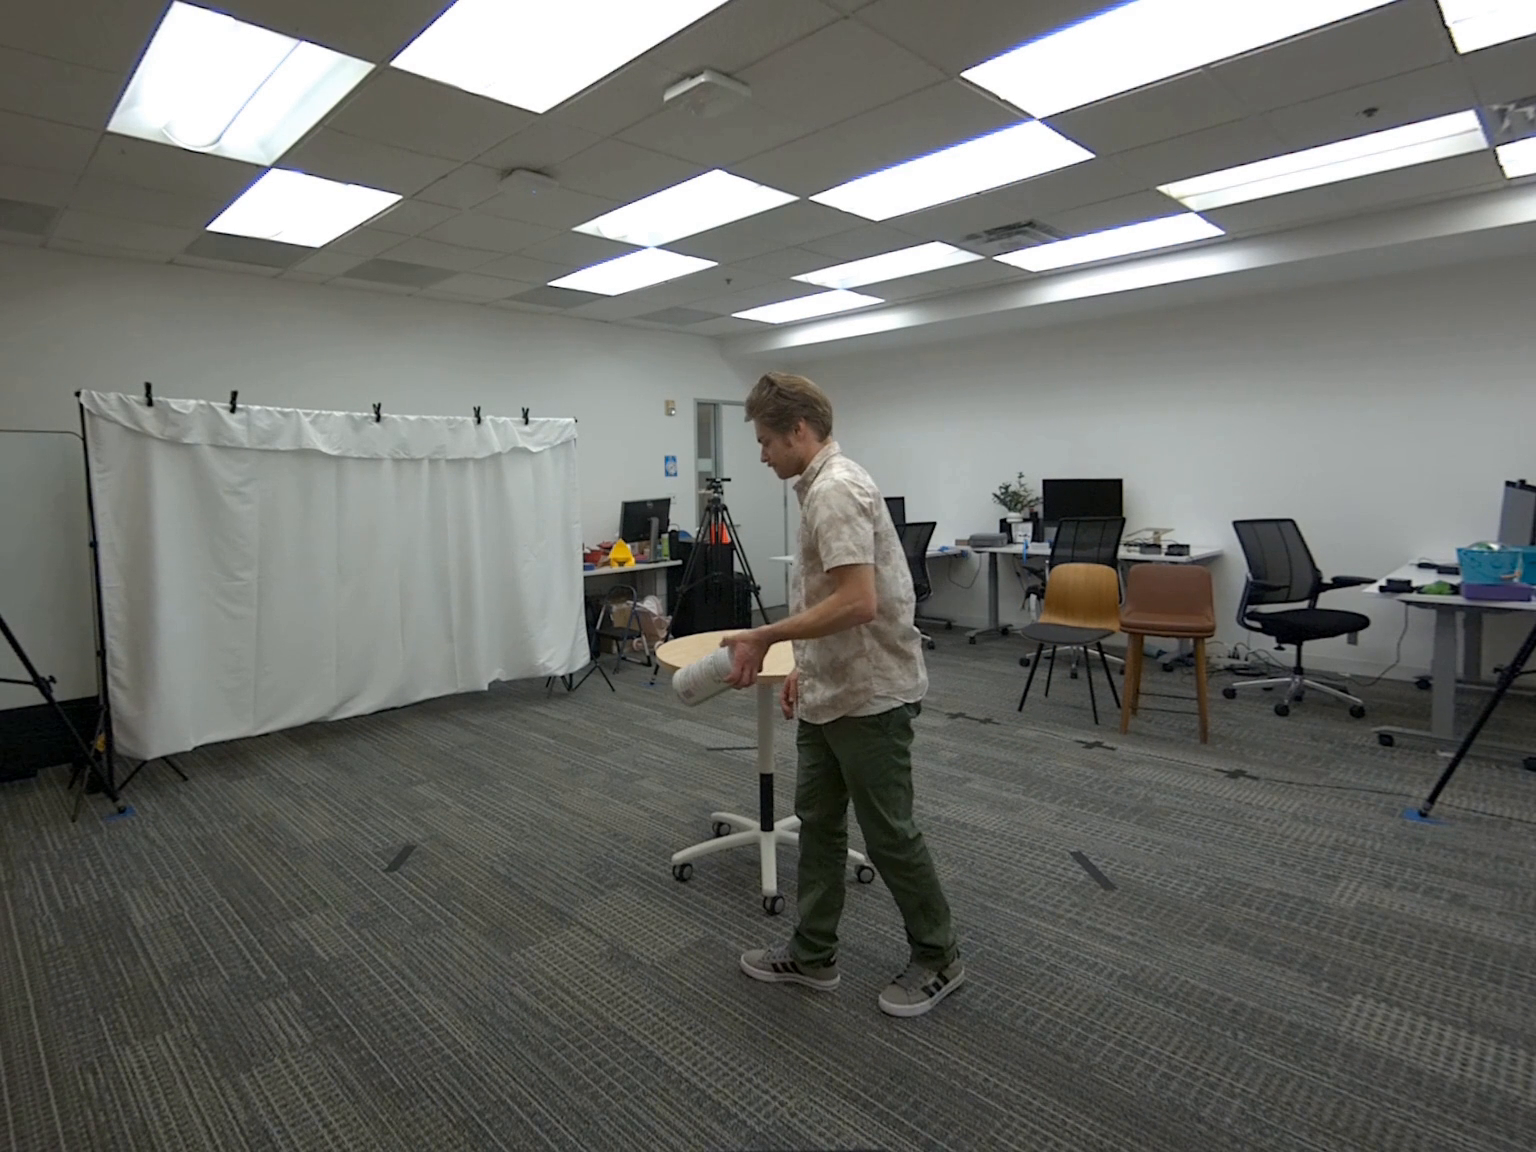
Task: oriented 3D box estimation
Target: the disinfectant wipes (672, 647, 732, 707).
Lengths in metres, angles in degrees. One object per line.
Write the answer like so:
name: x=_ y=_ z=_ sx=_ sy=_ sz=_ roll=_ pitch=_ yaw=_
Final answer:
disinfectant wipes: x=-0.135 y=0.253 z=2.229 sx=0.219 sy=0.120 sz=0.115 roll=-32 pitch=-16 yaw=36
